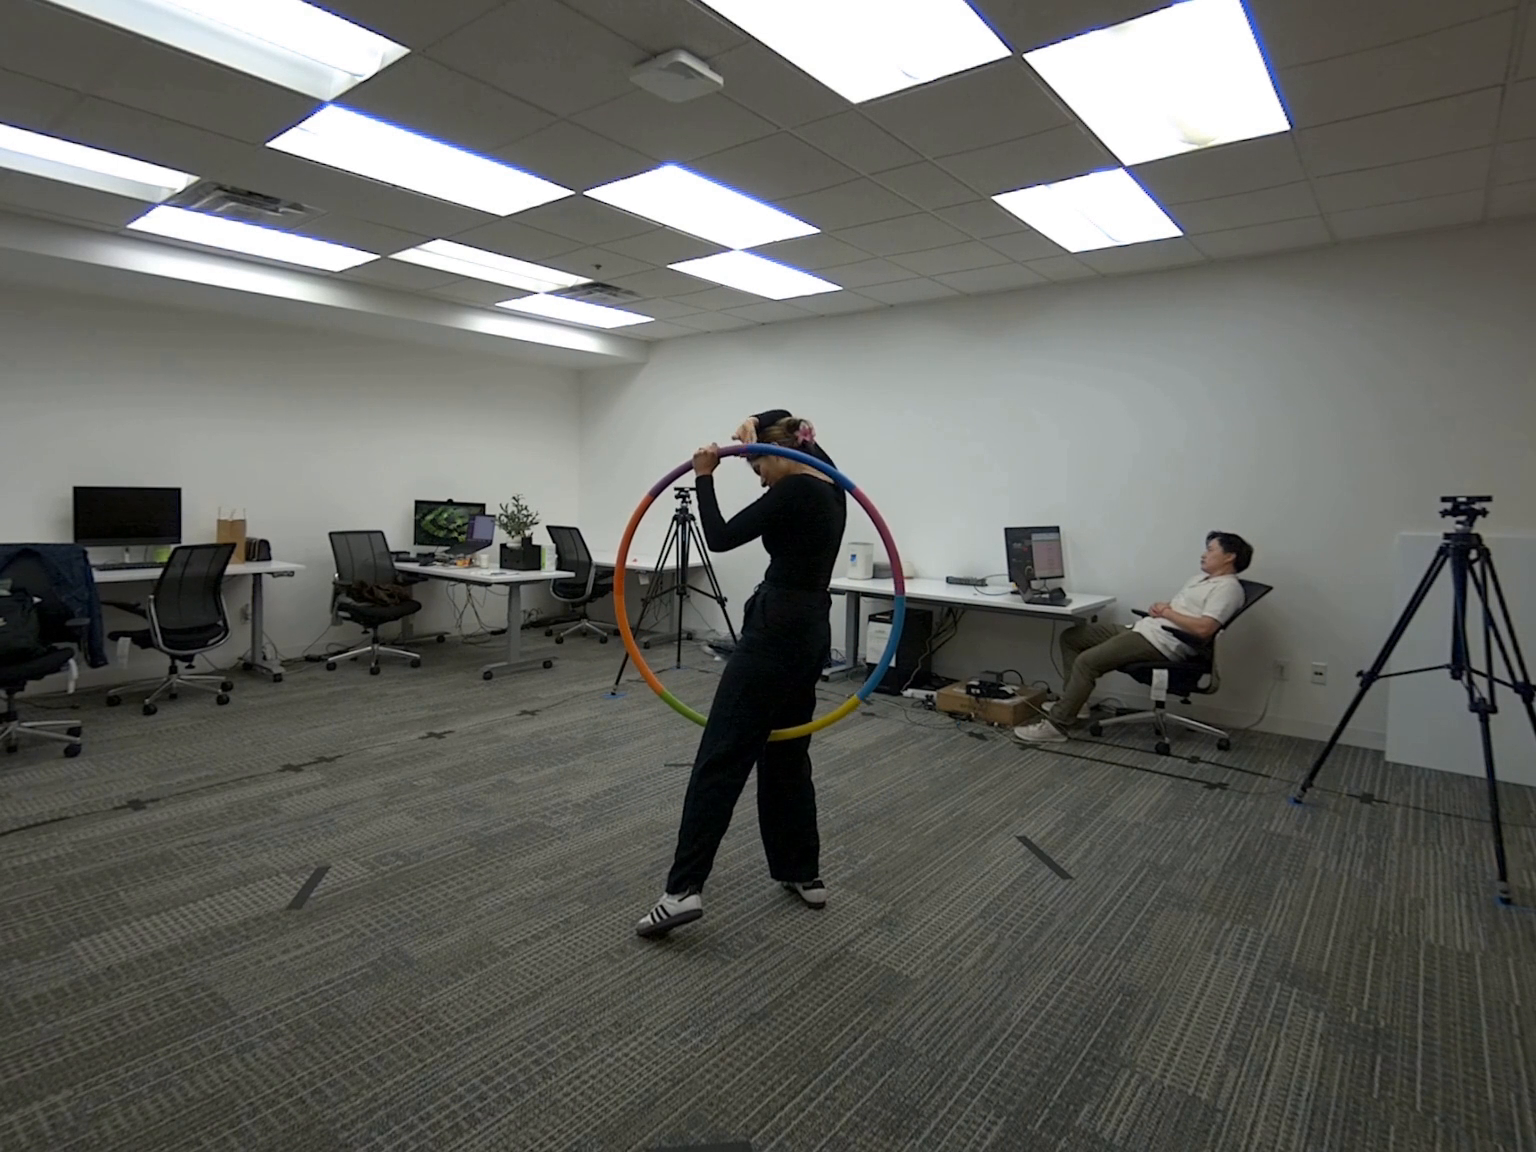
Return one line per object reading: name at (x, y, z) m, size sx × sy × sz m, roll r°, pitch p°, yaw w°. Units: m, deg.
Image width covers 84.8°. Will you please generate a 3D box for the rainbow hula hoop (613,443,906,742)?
rainbow hula hoop at (-0.064, 0.055, 2.811) m, size 0.993 × 0.973 × 0.035 m, roll 2°, pitch 6°, yaw 13°
